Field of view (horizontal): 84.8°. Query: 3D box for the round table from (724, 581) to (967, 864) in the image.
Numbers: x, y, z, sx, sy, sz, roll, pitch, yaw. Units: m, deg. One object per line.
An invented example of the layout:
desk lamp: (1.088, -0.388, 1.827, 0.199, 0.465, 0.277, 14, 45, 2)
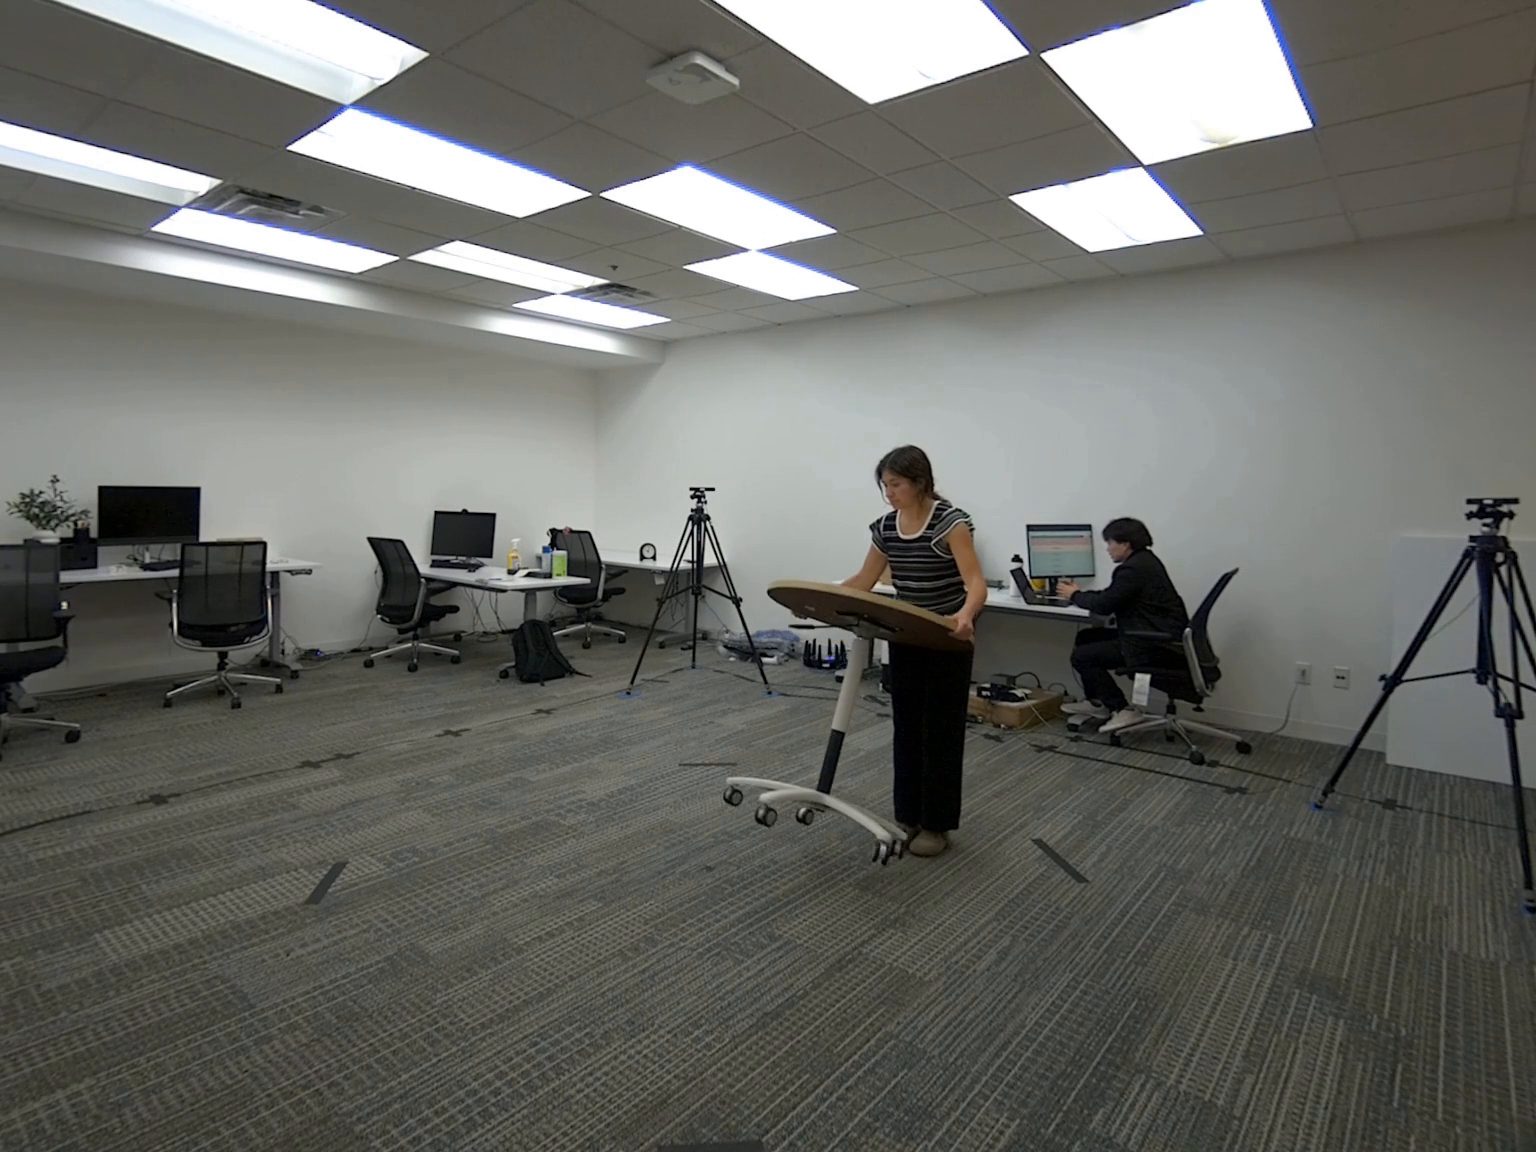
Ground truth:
round table: (0.254, 0.516, 3.045, 0.767, 0.800, 0.756, 15, -12, 1)
